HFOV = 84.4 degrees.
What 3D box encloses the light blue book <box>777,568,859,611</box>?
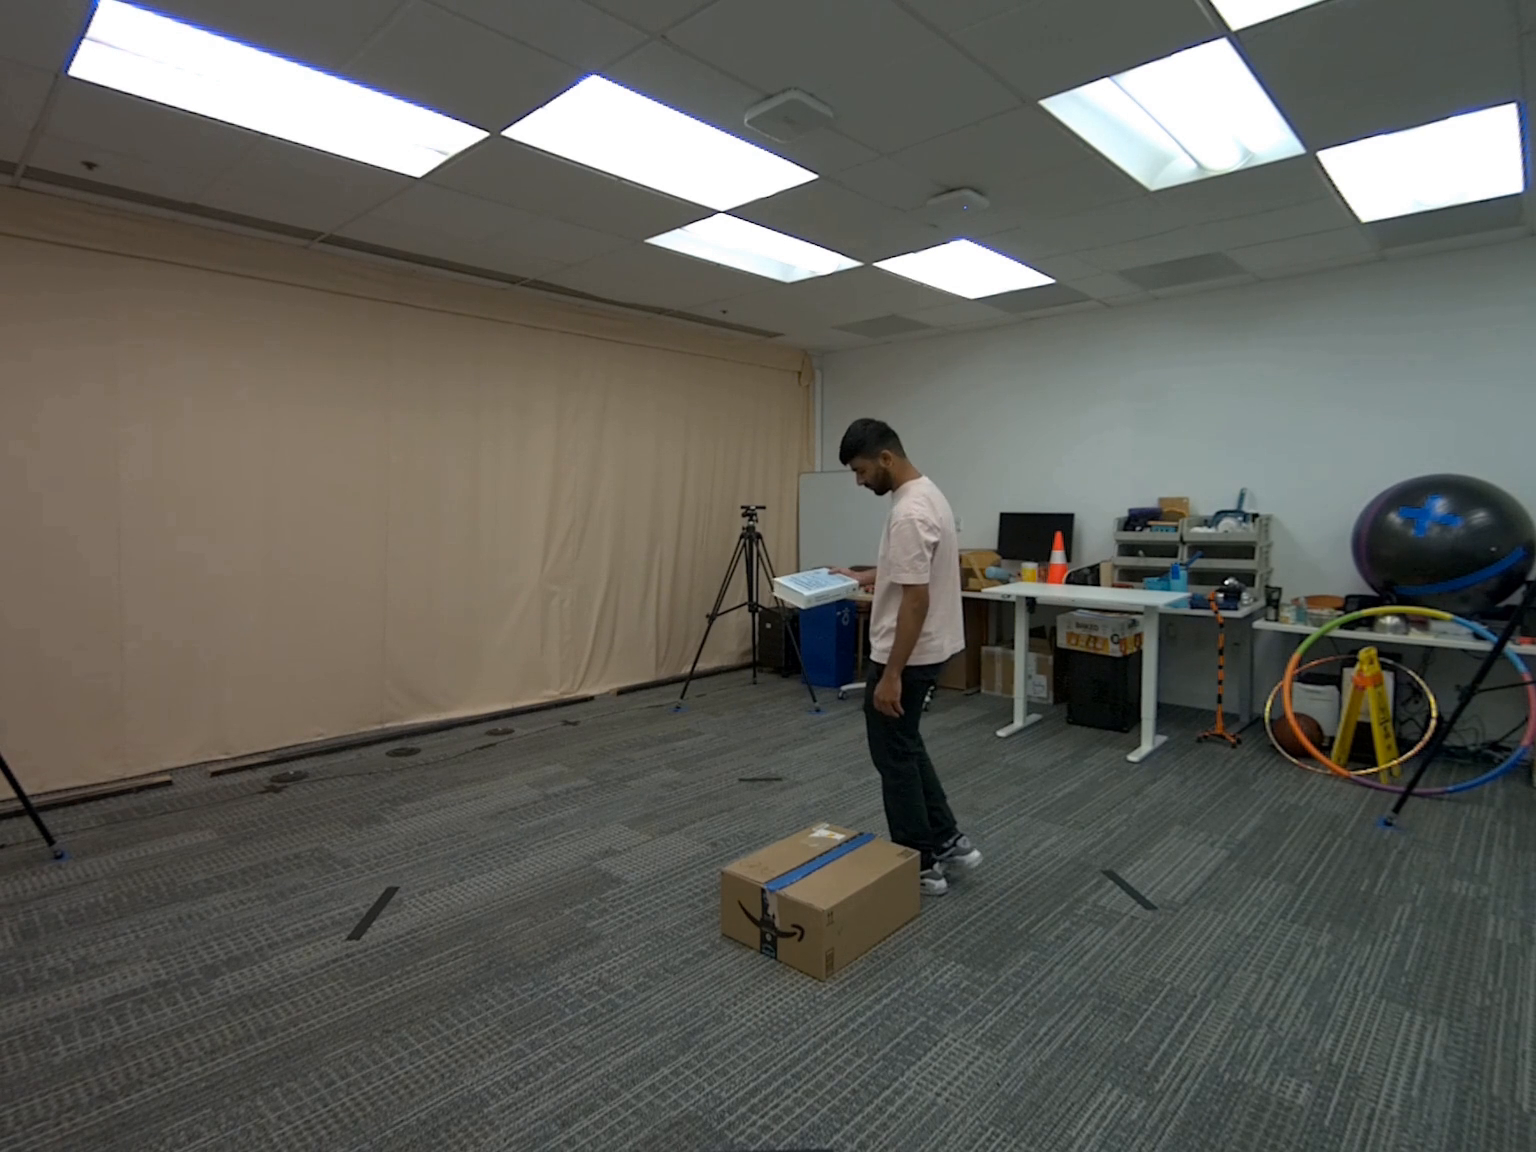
[{"bbox_3d":[0.228,0.052,3.163,0.254,0.058,0.198,-13,24,-35],"label":"light blue book"}]
